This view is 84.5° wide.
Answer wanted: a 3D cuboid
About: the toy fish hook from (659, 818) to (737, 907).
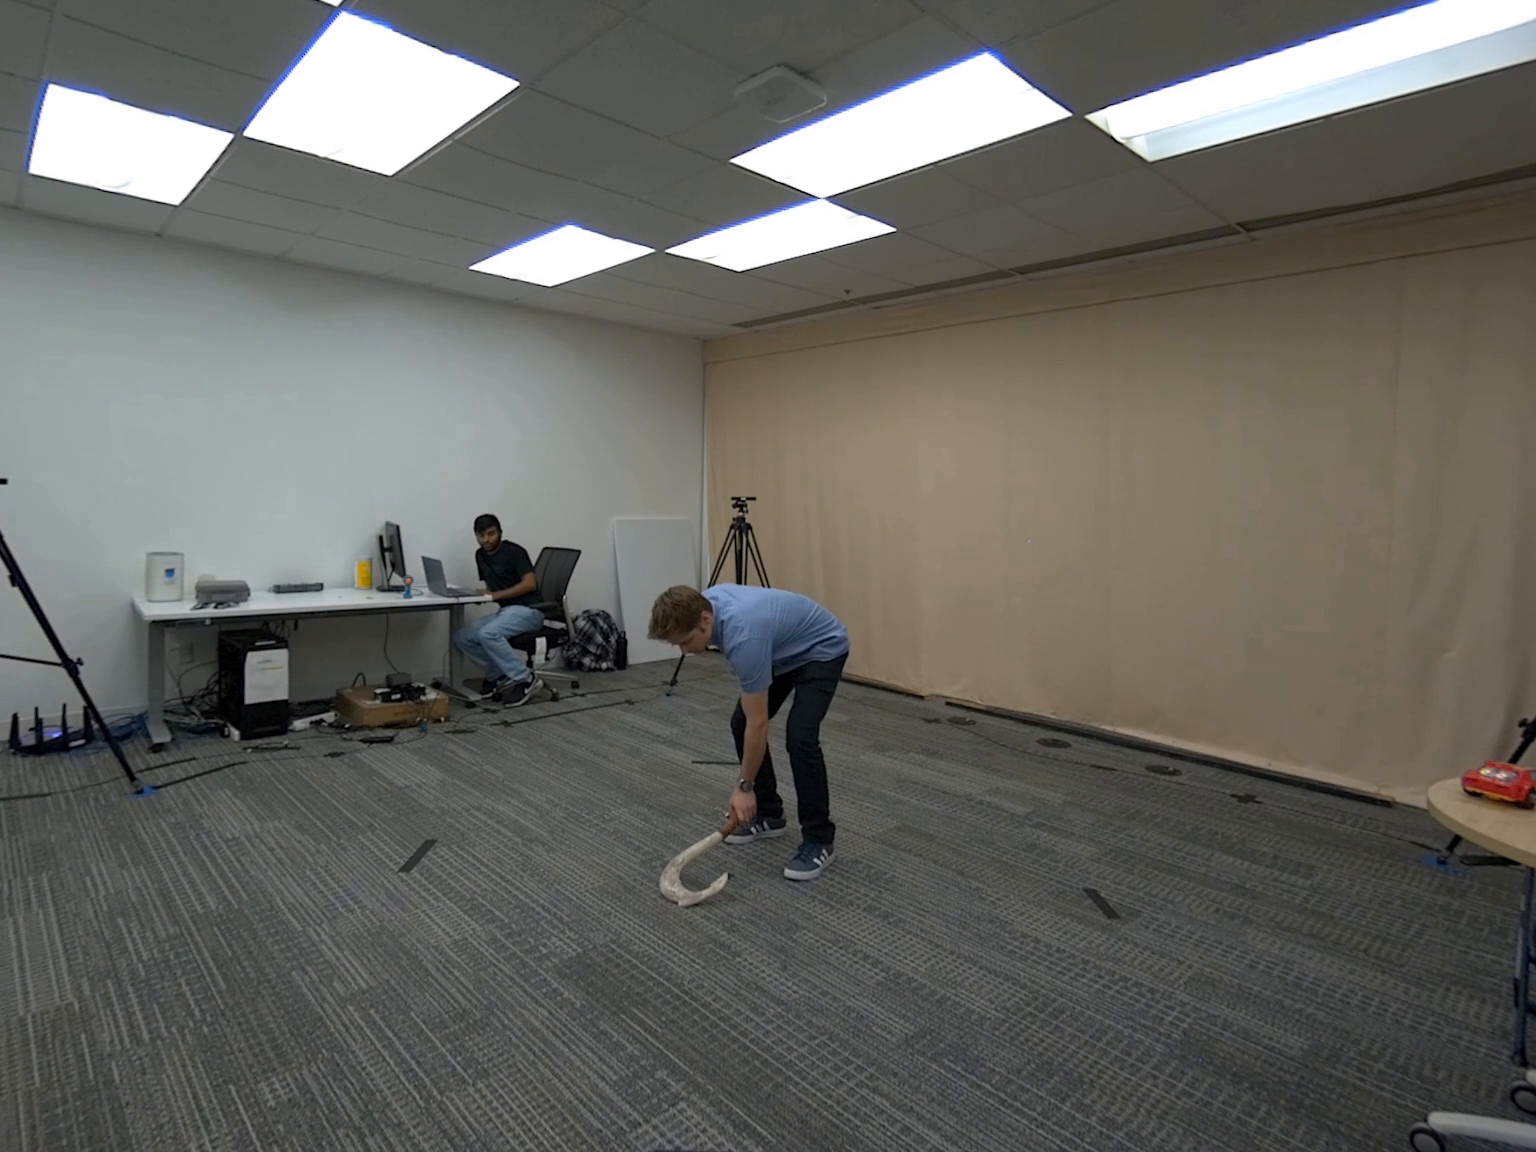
[{"bbox_3d":[-0.180,1.000,3.034,0.231,0.047,0.503,21,42,34],"label":"toy fish hook"}]
